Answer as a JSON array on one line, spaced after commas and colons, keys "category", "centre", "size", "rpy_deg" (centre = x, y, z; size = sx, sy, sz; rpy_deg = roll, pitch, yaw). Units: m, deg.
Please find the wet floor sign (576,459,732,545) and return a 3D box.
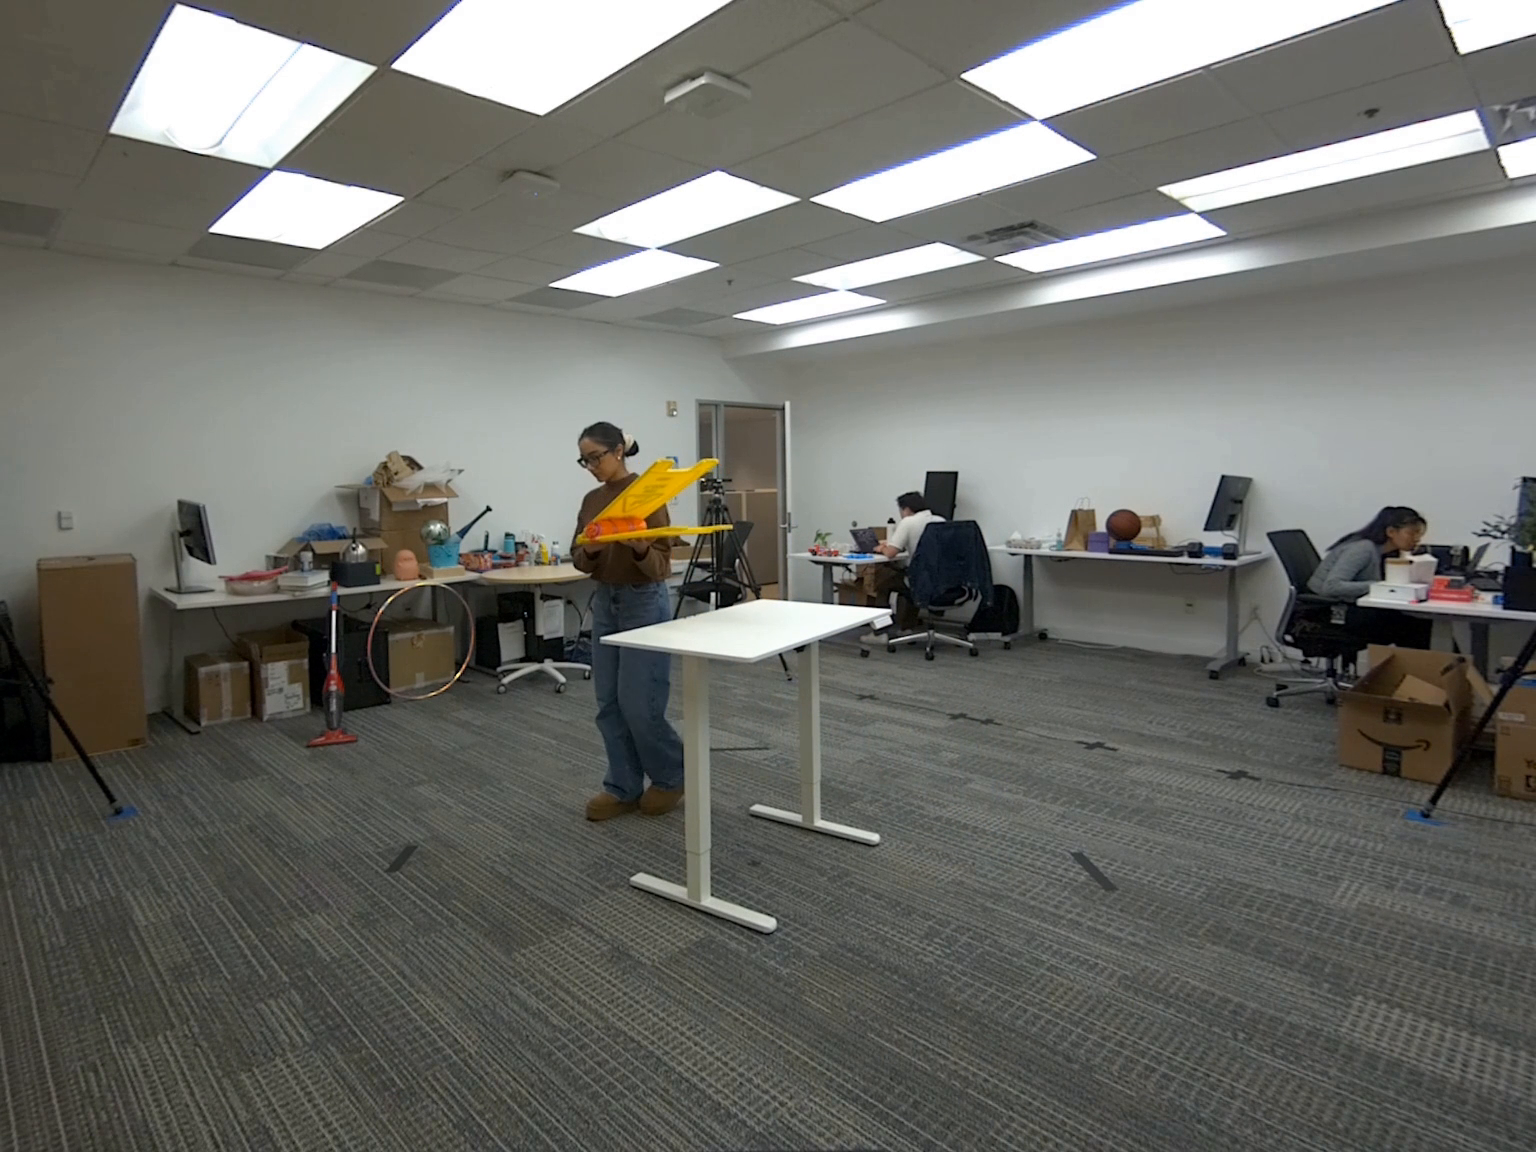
[{"category": "wet floor sign", "centre": [-0.465, -0.206, 3.156], "size": [0.275, 0.292, 0.659], "rpy_deg": [-5, -8, -45]}]
